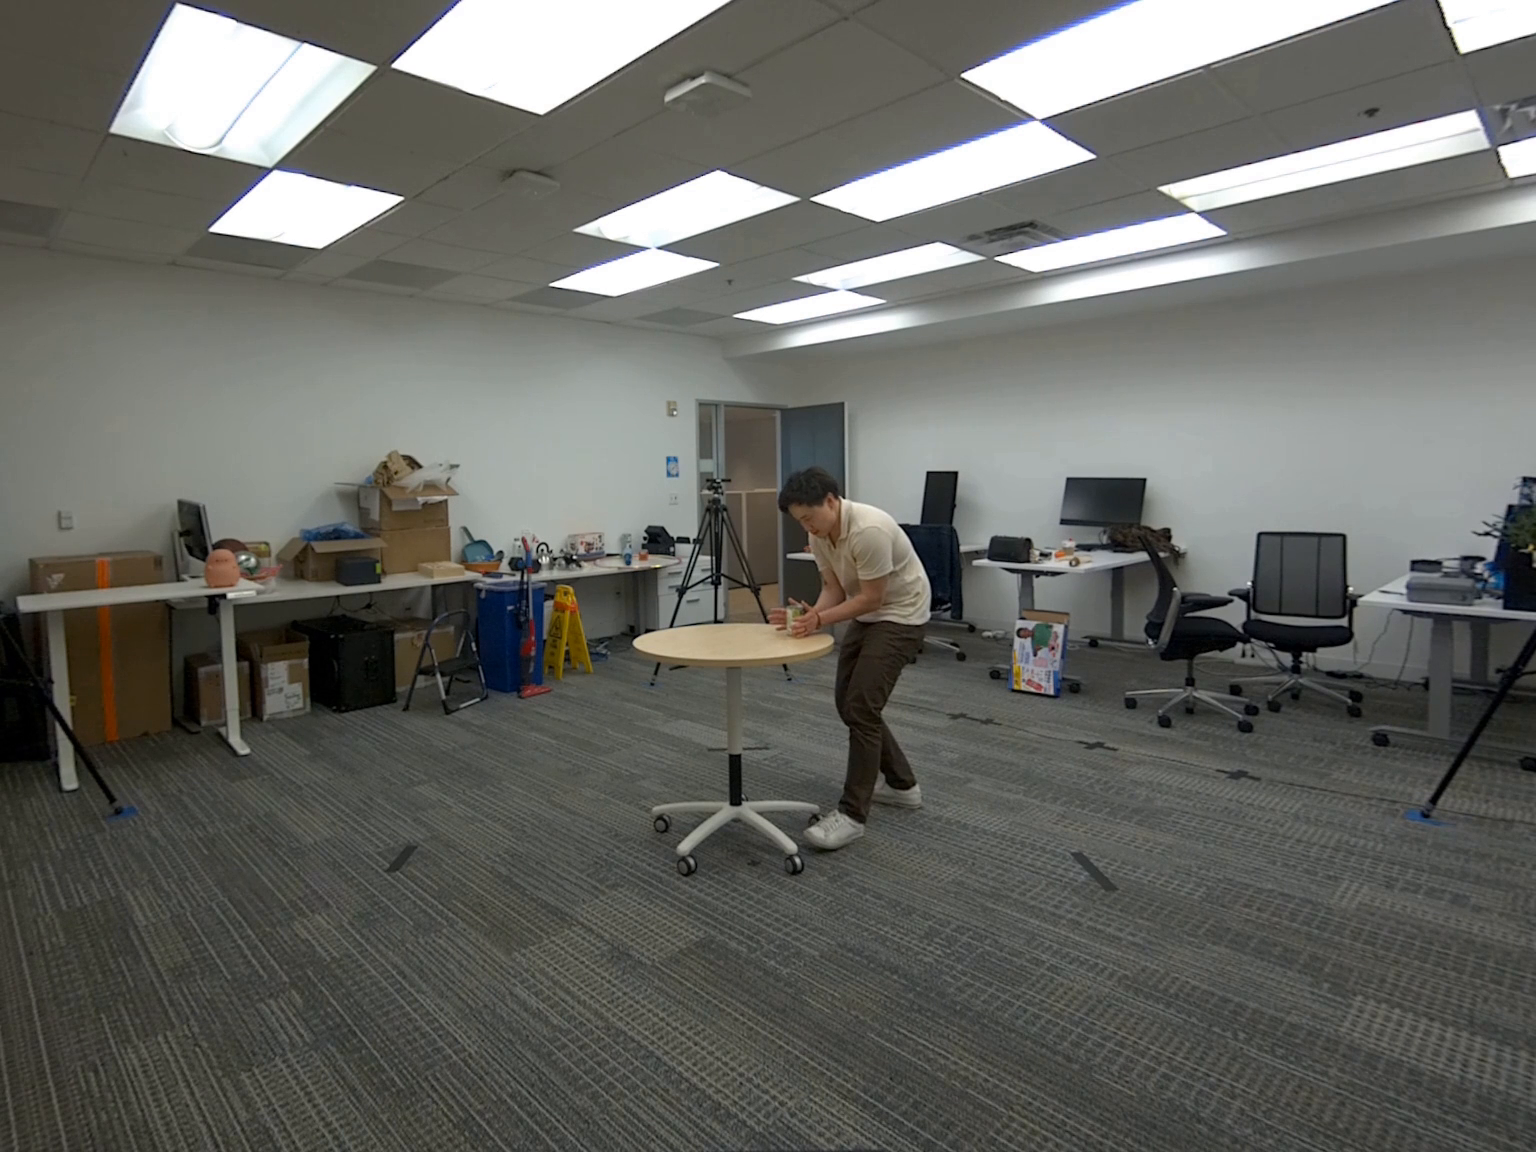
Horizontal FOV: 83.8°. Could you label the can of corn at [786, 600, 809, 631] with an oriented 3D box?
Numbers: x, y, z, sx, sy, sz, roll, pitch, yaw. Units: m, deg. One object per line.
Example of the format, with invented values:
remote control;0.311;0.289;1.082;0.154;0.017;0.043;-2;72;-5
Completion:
can of corn;0.104;0.176;3.343;0.074;0.111;0.074;-1;2;-2
